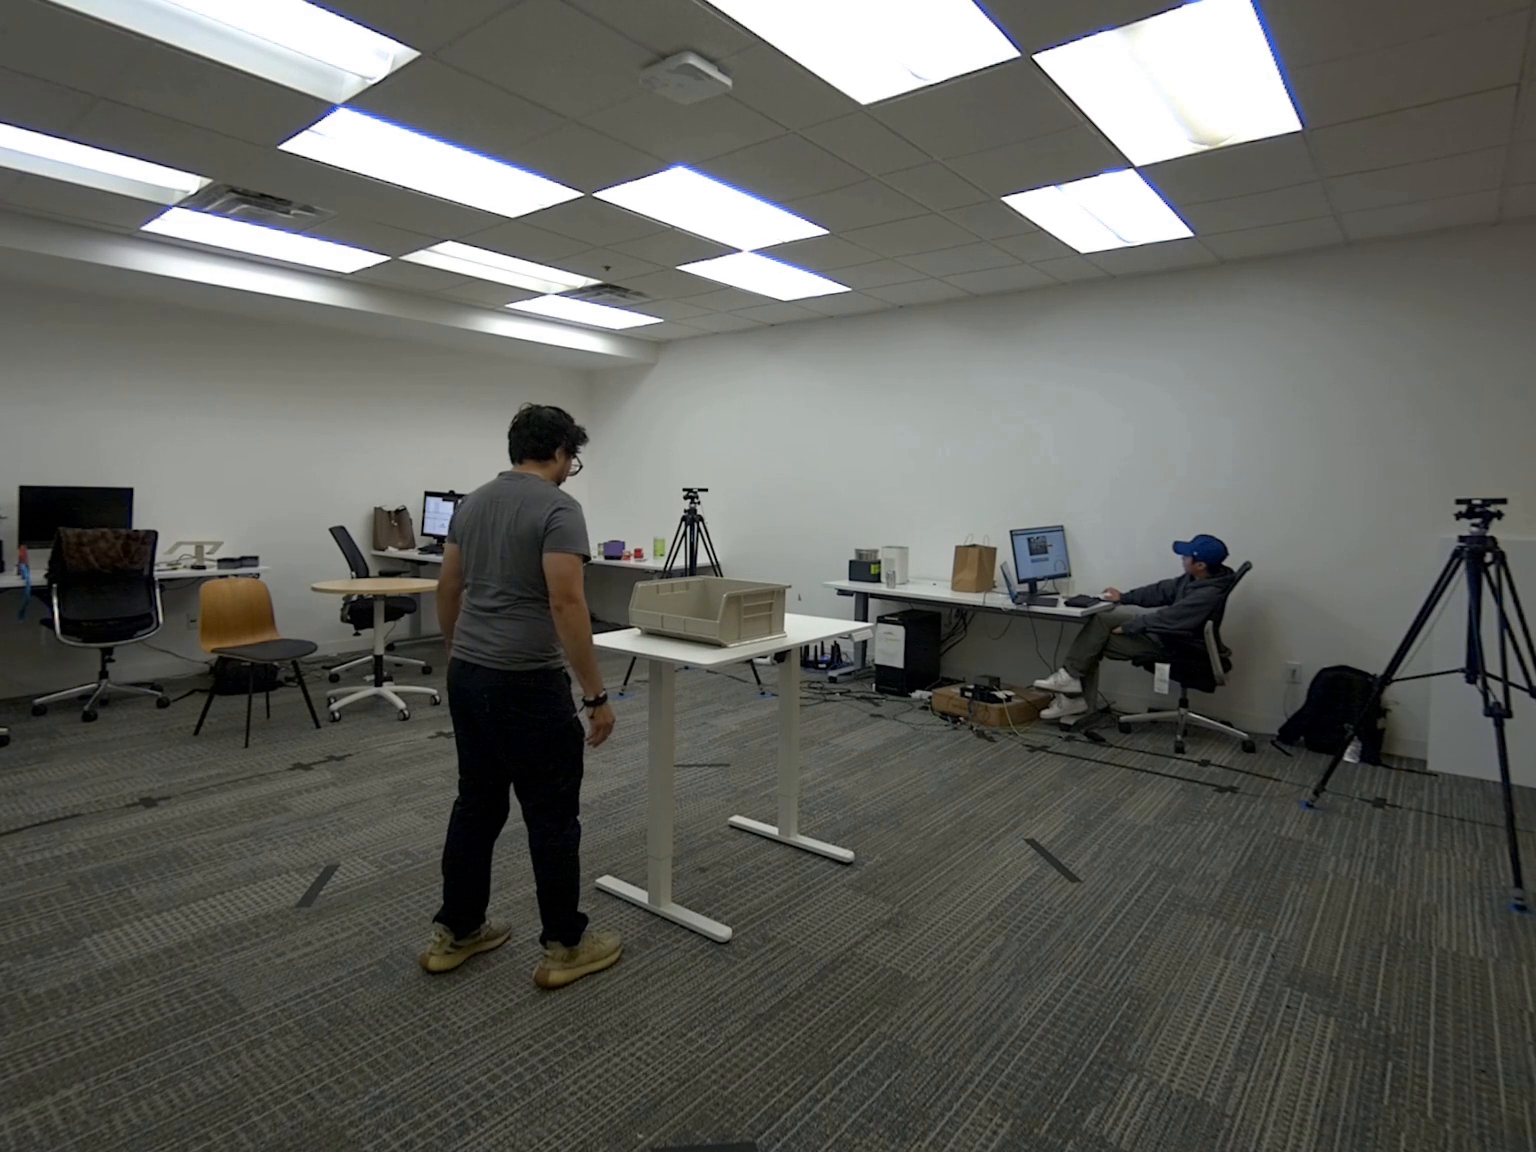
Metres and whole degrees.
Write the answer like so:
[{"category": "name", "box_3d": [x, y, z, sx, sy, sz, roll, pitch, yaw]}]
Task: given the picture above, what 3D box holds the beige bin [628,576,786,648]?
[{"category": "beige bin", "box_3d": [-0.210, 0.119, 2.931, 0.436, 0.188, 0.366, 4, 5, 39]}]
